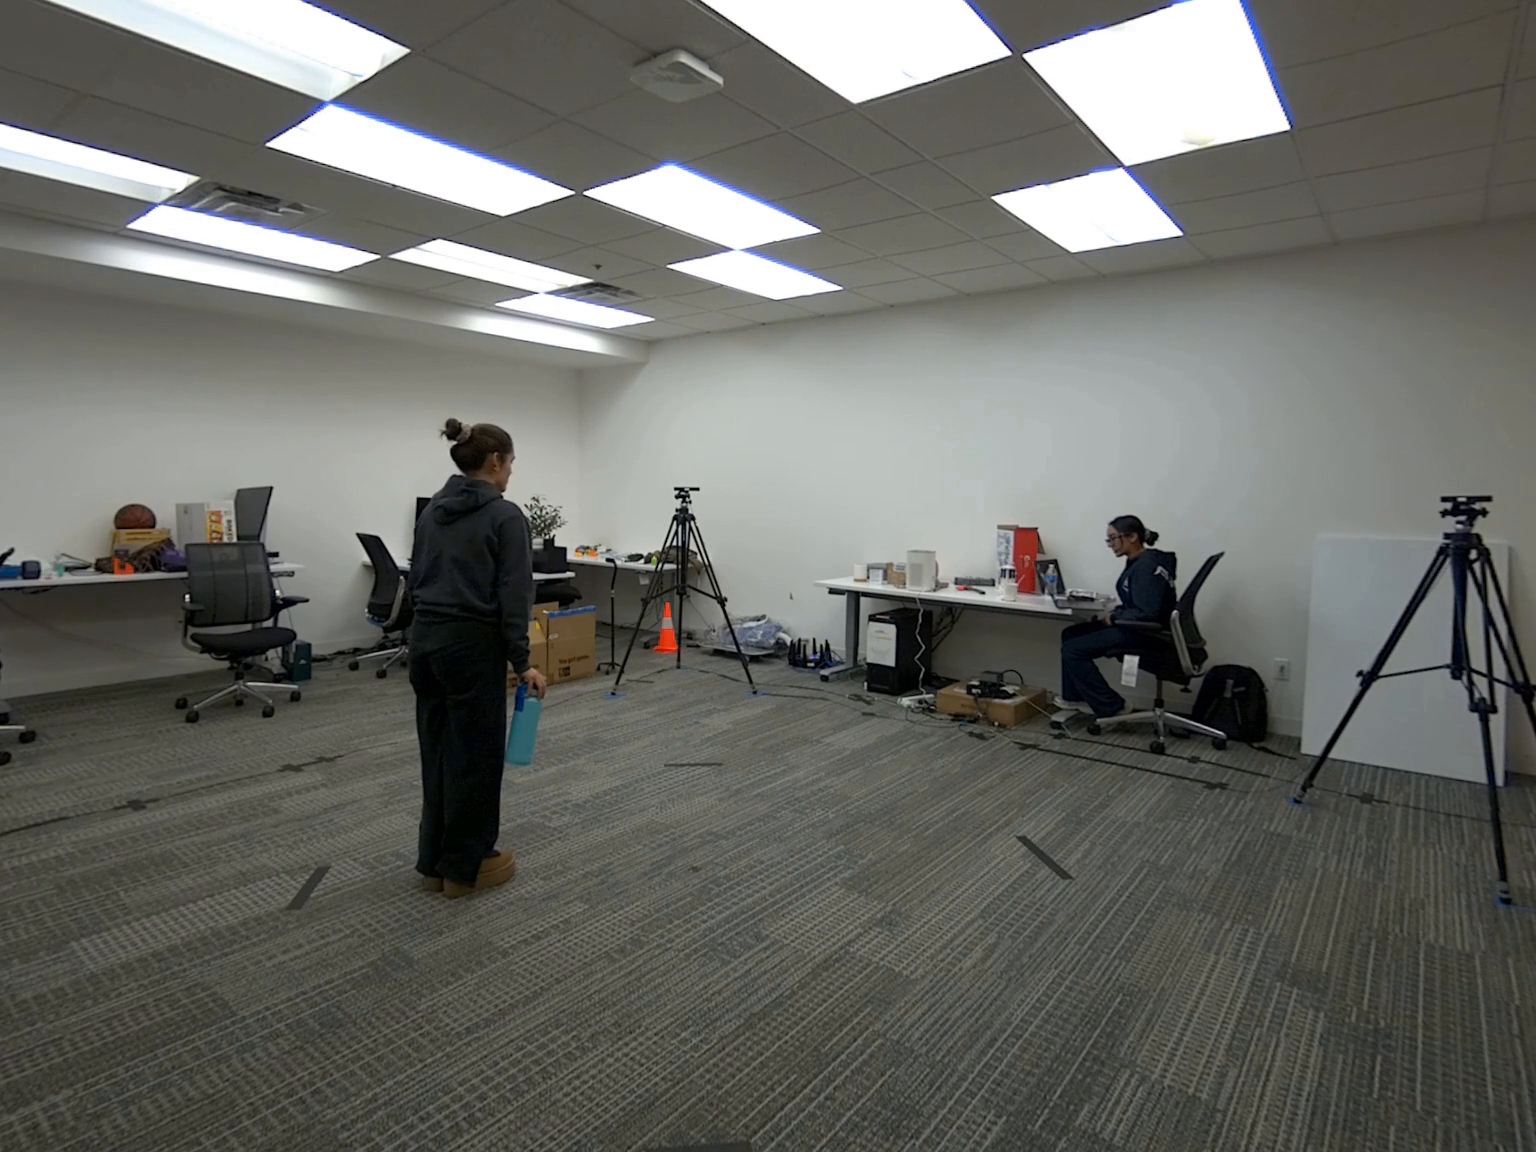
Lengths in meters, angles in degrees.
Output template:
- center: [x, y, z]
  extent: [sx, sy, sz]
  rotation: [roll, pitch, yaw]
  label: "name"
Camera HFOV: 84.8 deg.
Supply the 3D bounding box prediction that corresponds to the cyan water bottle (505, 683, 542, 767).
- center: [-0.837, 0.510, 2.891]
  extent: [0.092, 0.284, 0.092]
  rotation: [9, -3, -2]
  label: "cyan water bottle"
